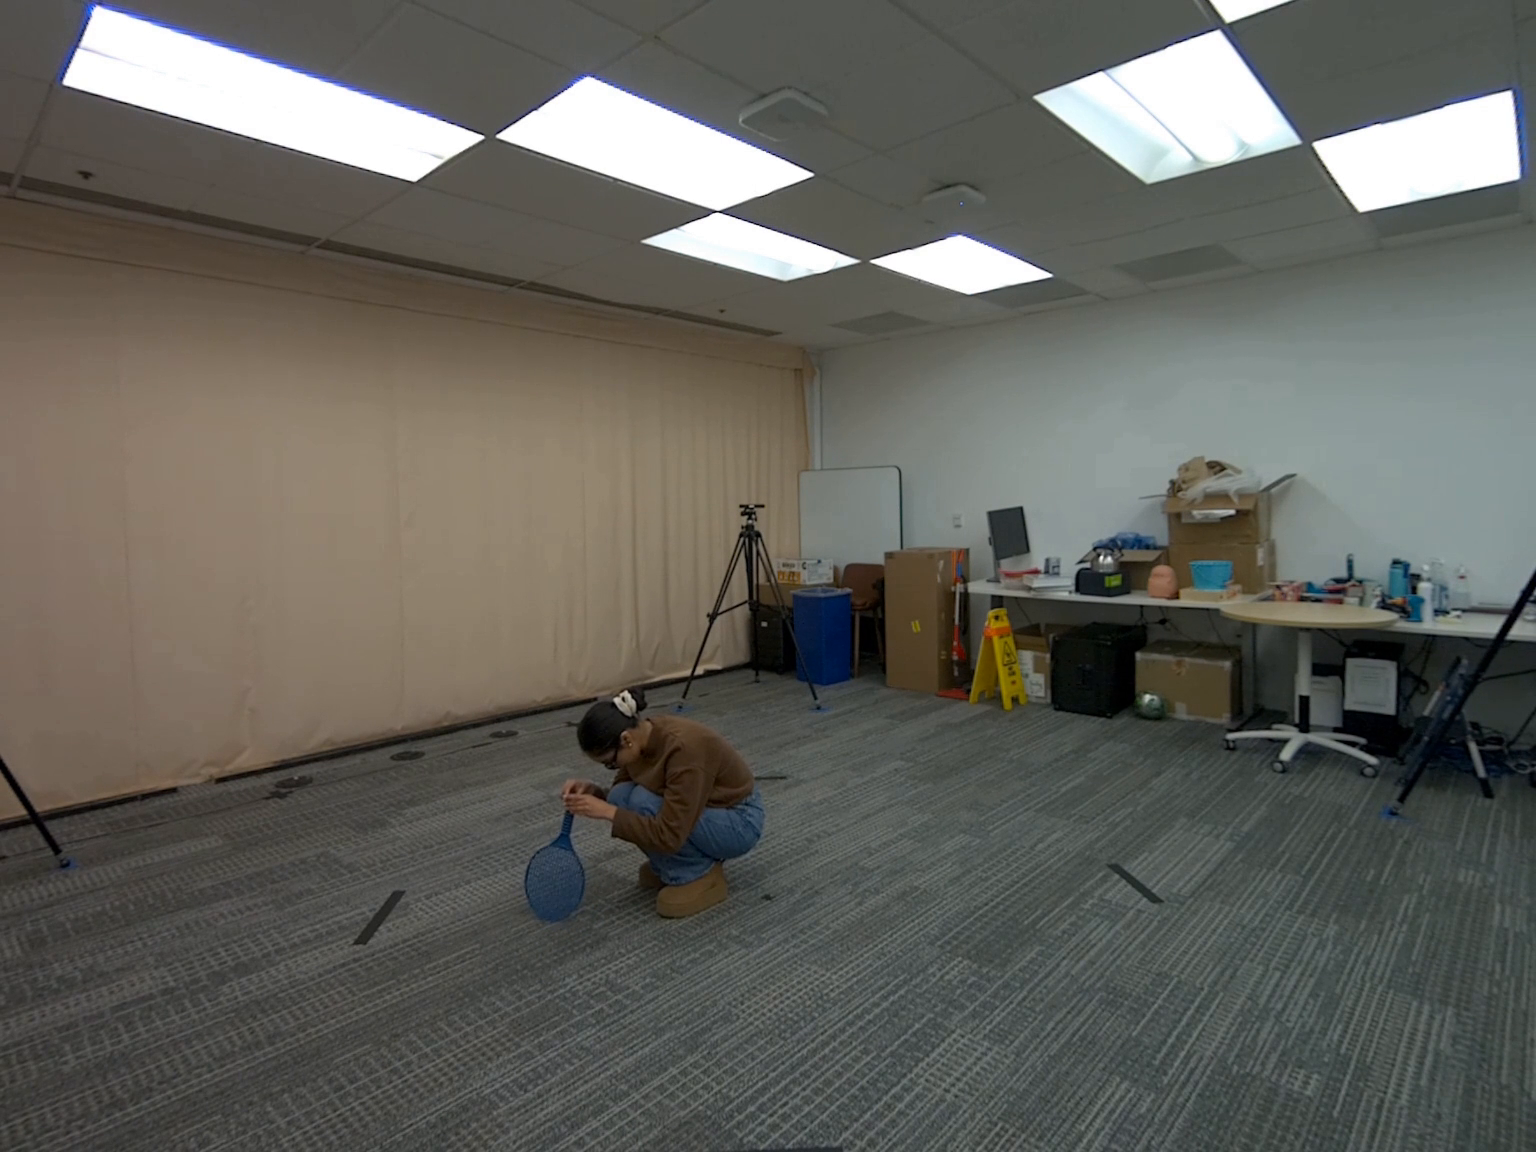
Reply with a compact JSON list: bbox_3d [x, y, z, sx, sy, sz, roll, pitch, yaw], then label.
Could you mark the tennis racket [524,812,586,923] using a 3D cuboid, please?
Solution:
[{"bbox_3d":[-0.697,0.960,2.850,0.215,0.433,0.031,18,1,6],"label":"tennis racket"}]
